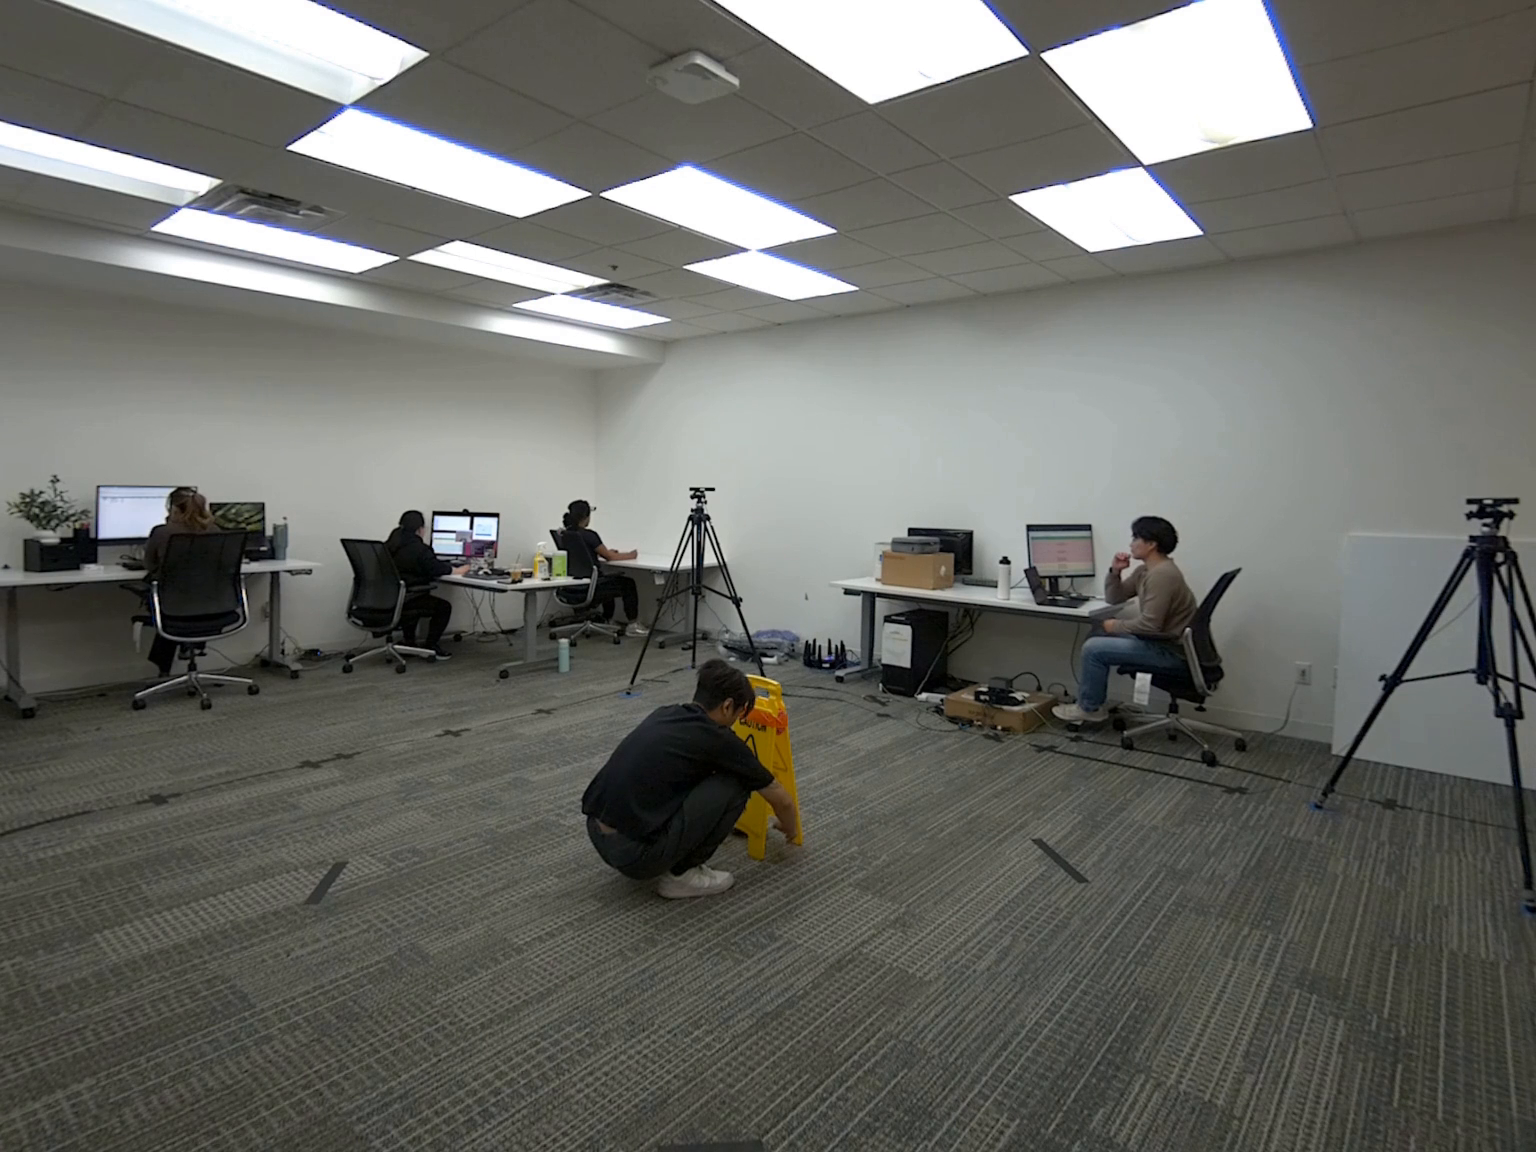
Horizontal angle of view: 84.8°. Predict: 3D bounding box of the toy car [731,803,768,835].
[{"bbox_3d":[-0.147,0.998,3.493,0.261,0.083,0.126,-8,-3,42],"label":"toy car"}]
